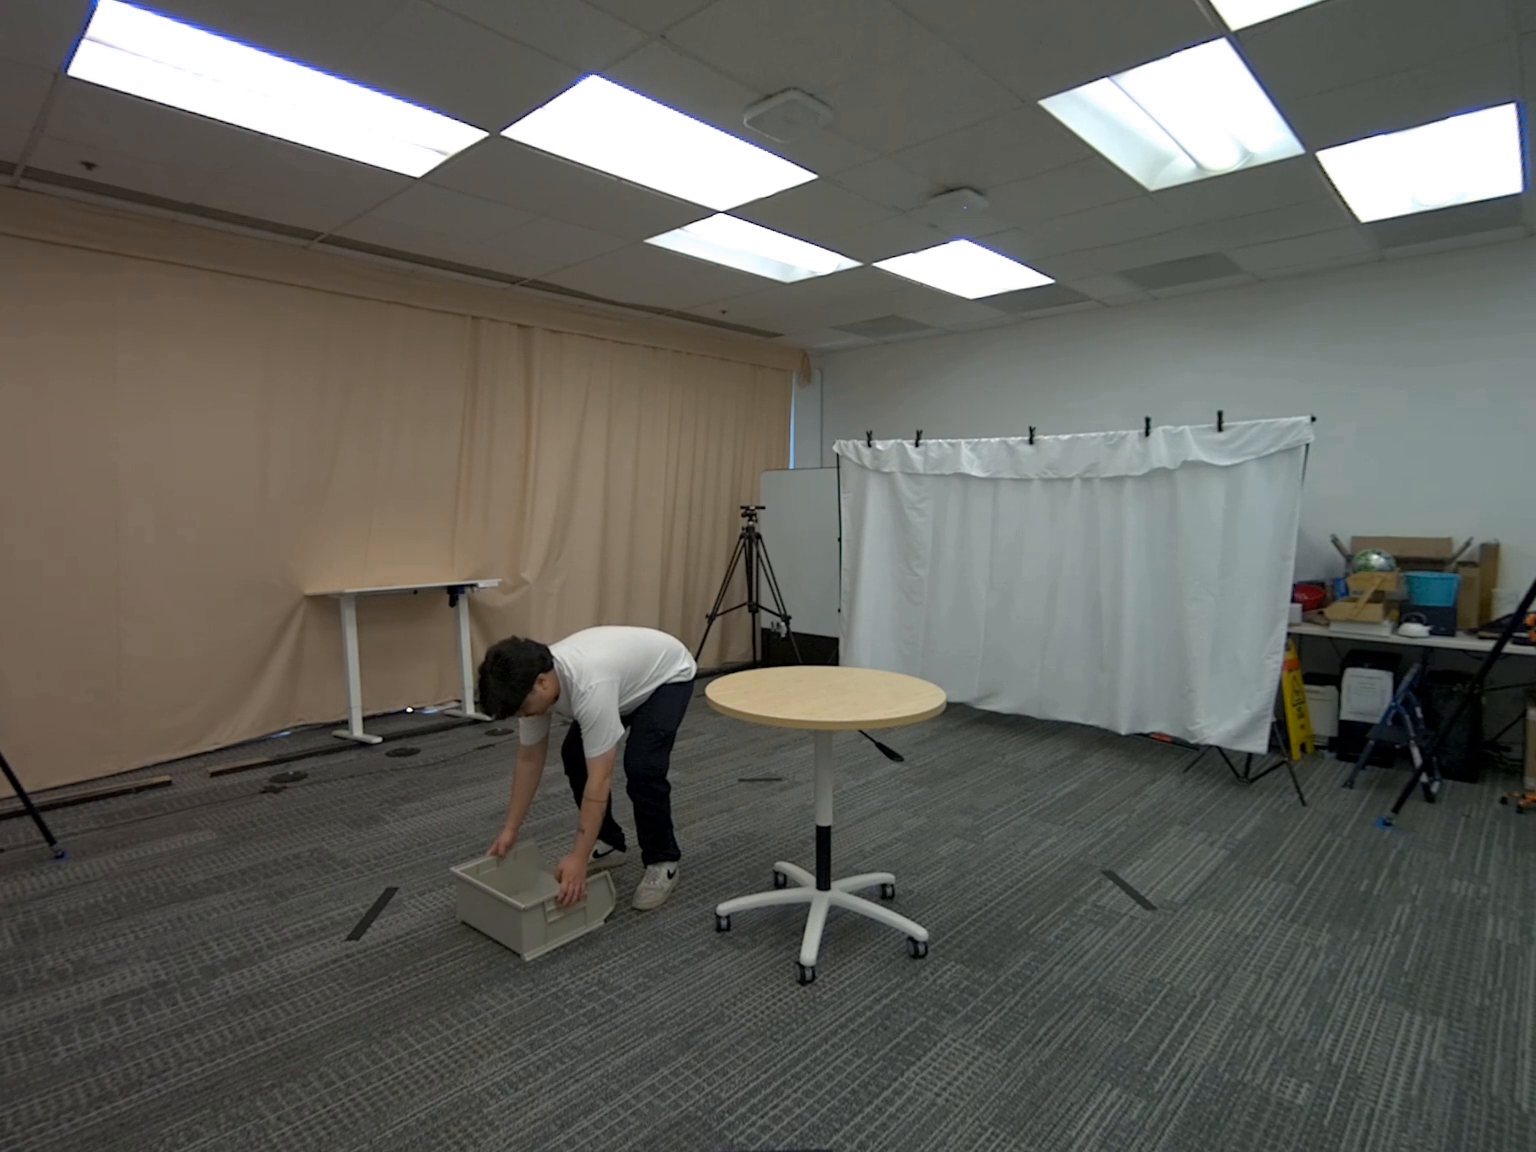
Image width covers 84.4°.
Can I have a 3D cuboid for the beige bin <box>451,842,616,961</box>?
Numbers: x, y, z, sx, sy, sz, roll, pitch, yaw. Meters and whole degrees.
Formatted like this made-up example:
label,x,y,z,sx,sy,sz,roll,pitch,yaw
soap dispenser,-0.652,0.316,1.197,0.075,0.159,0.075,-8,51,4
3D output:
label,x,y,z,sx,sy,sz,roll,pitch,yaw
beige bin,-0.790,1.069,2.855,0.436,0.188,0.366,5,8,41
